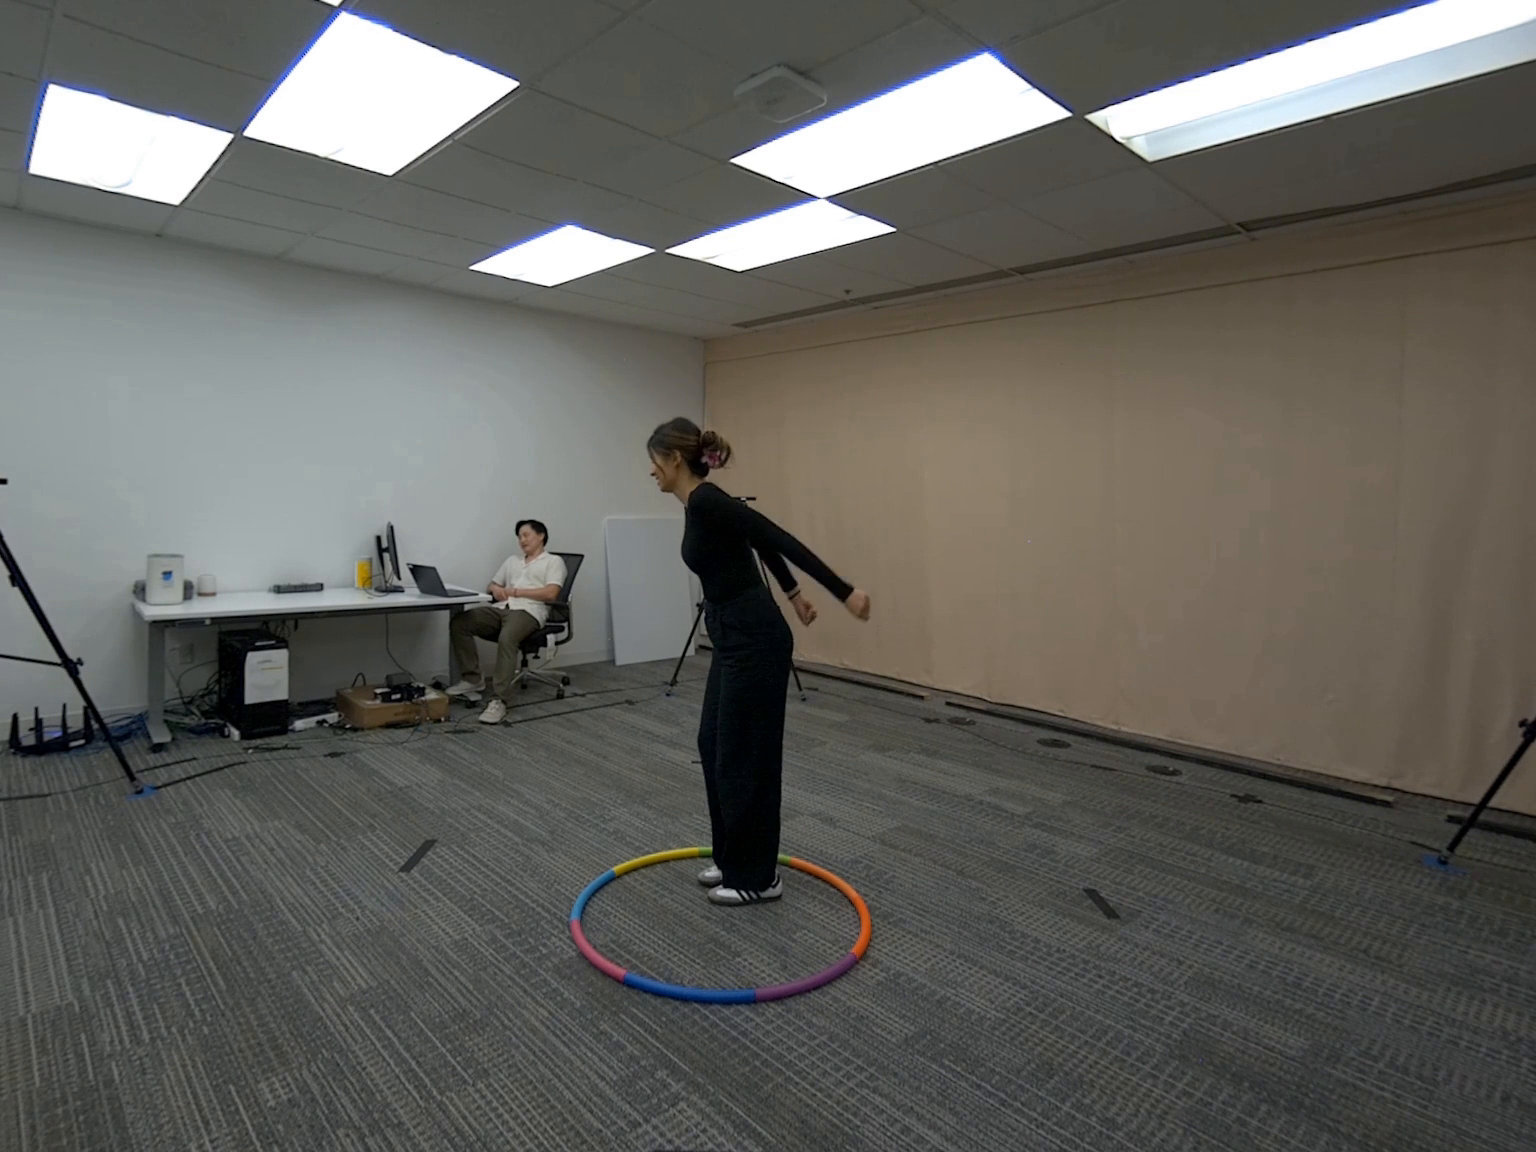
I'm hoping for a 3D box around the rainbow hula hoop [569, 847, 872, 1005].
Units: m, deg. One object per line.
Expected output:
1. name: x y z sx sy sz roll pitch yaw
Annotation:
1. rainbow hula hoop: -0.162 1.107 2.799 0.978 0.035 0.982 1 5 -1
